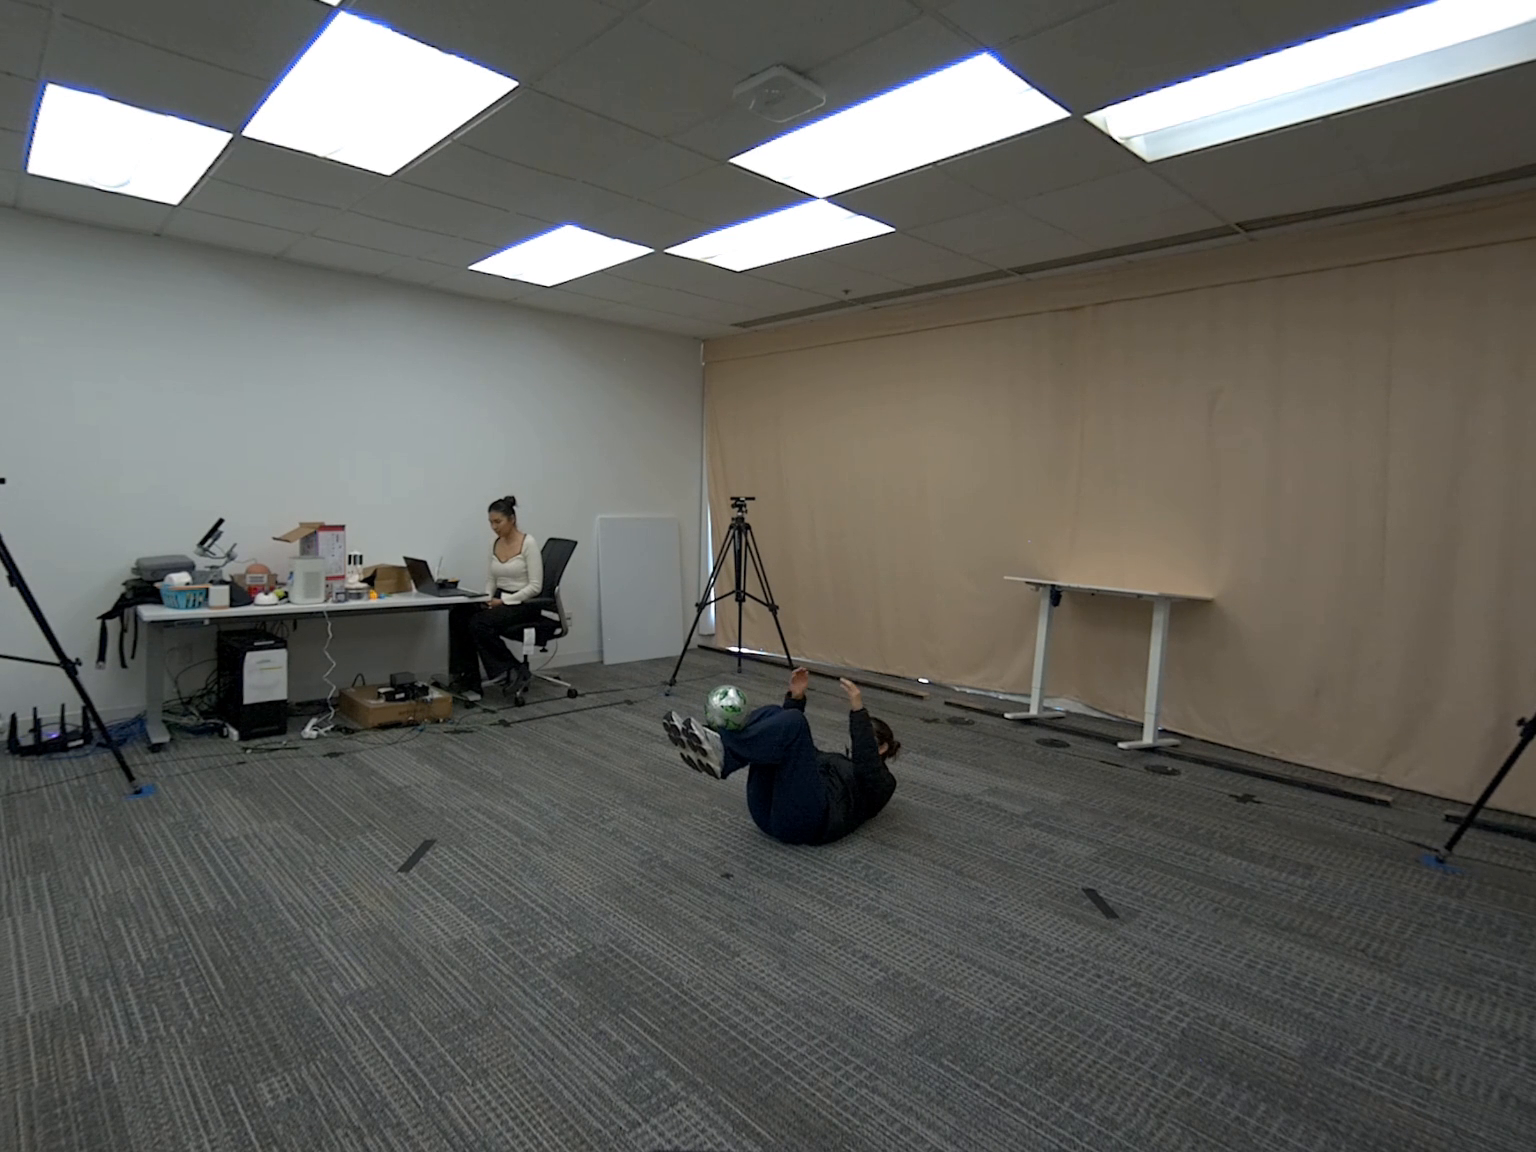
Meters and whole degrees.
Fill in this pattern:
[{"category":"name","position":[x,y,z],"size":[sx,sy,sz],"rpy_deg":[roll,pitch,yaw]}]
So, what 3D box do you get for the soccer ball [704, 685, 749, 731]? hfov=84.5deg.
[{"category":"soccer ball","position":[-0.168,0.517,3.268],"size":[0.187,0.186,0.188],"rpy_deg":[0,7,-1]}]
